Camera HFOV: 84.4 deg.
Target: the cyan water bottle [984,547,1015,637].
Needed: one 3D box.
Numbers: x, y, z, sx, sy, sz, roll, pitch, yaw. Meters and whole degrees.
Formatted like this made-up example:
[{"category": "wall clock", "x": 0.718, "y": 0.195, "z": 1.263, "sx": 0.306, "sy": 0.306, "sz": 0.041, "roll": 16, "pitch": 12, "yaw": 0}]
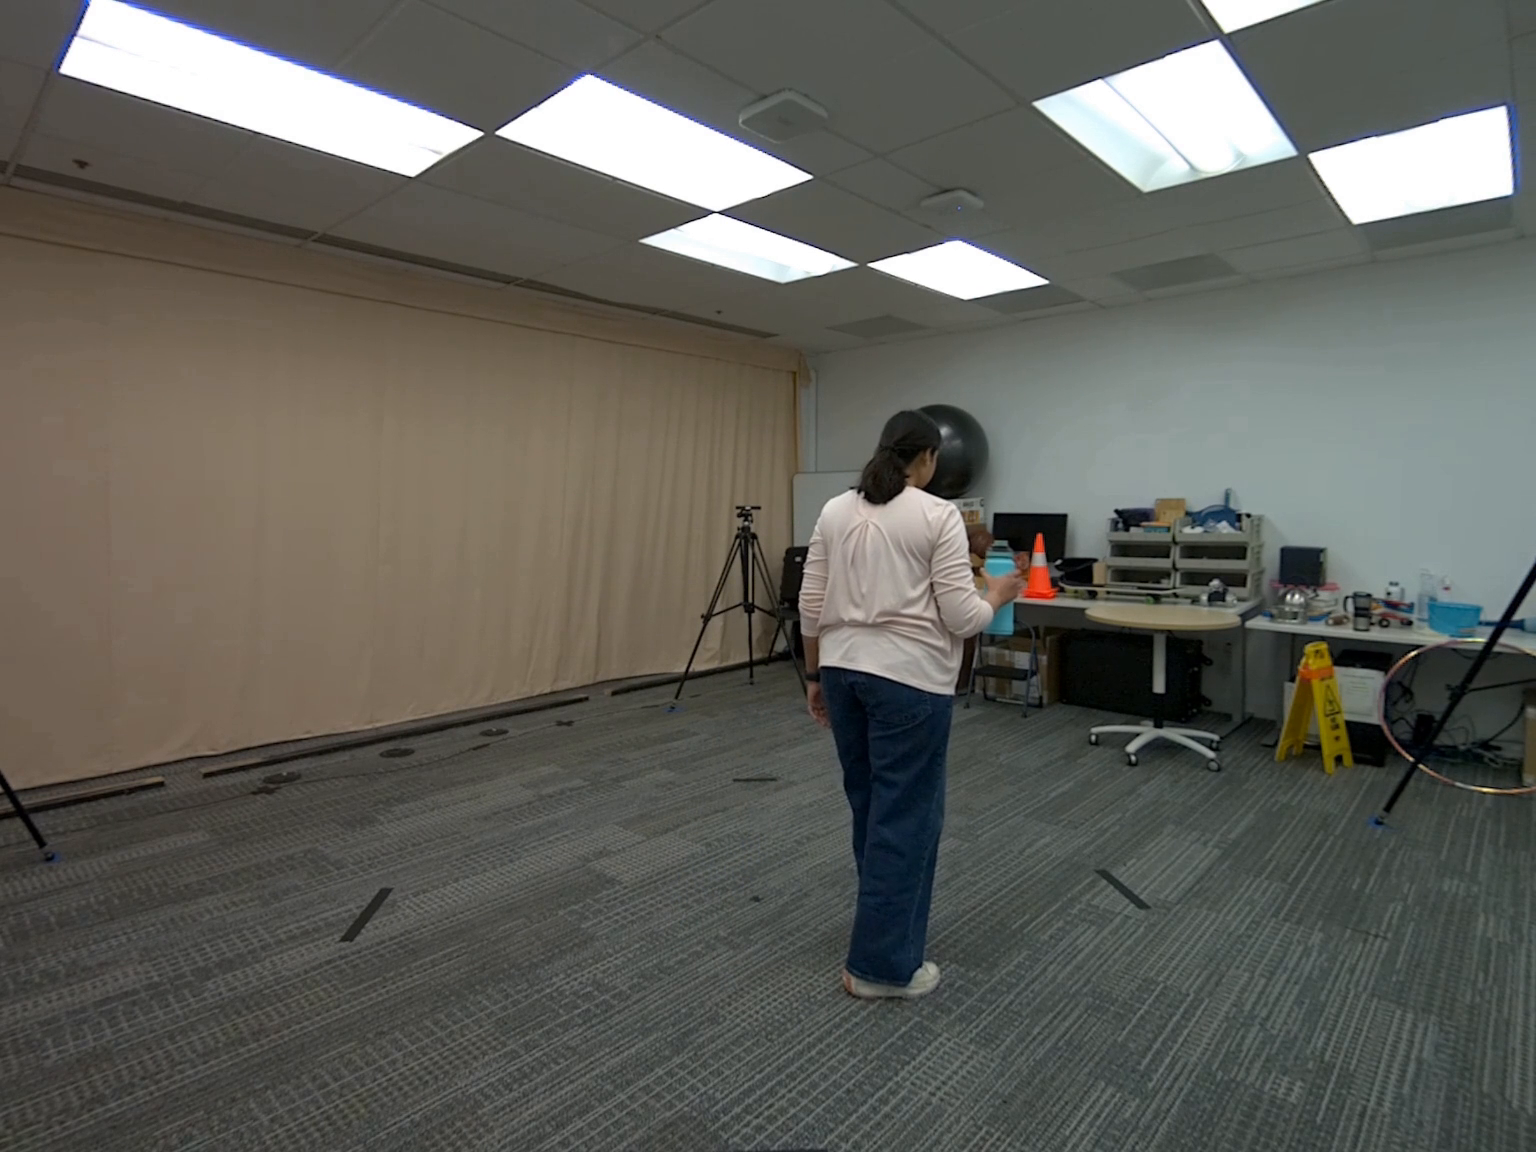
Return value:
[{"category": "cyan water bottle", "x": 0.714, "y": 0.039, "z": 2.558, "sx": 0.092, "sy": 0.284, "sz": 0.092, "roll": 4, "pitch": -3, "yaw": -2}]
